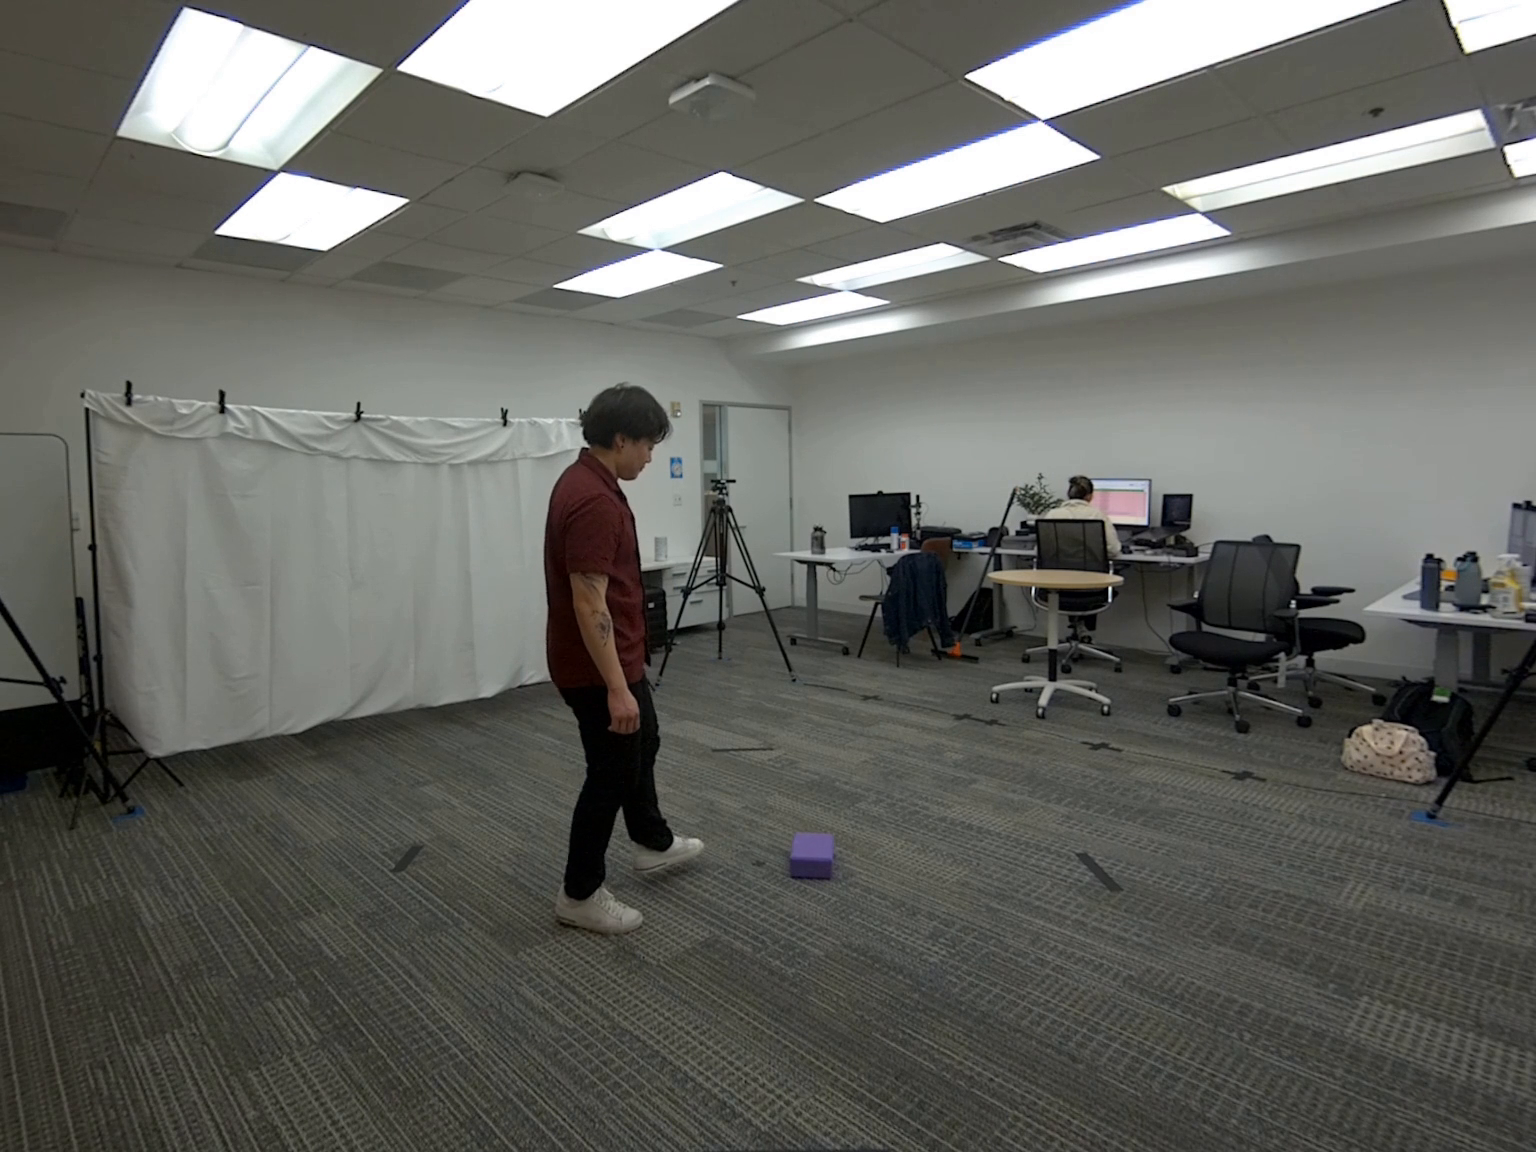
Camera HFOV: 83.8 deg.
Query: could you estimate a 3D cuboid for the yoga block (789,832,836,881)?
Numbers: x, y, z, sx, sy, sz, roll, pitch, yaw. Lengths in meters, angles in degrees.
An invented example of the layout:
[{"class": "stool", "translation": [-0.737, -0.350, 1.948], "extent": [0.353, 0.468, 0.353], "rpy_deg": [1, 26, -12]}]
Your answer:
[{"class": "yoga block", "translation": [0.163, 1.002, 3.088], "extent": [0.150, 0.076, 0.228], "rpy_deg": [-1, 6, 7]}]
